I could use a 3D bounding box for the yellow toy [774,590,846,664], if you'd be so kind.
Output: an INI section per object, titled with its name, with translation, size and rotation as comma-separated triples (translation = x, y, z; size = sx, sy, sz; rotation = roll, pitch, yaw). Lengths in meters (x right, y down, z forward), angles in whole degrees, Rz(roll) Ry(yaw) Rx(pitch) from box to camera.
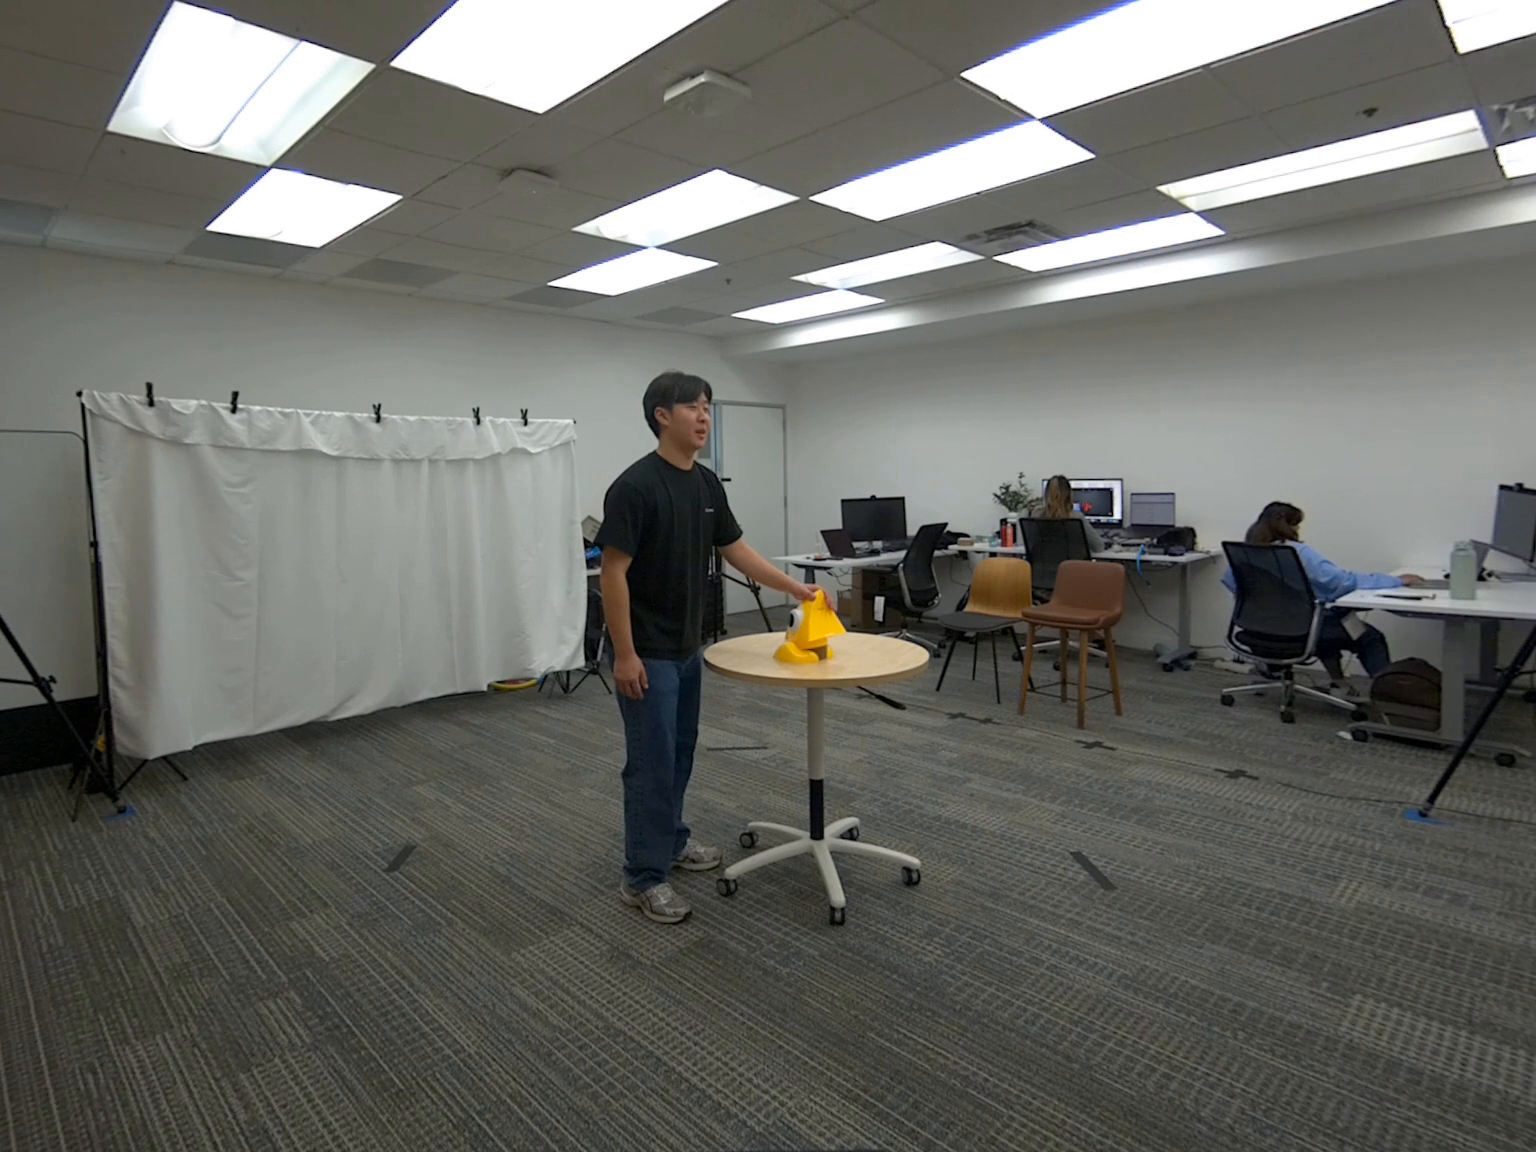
[yellow toy]
translation = 0.130, 0.155, 2.861
size = 0.199, 0.230, 0.199
rotation = 3, 6, 41
